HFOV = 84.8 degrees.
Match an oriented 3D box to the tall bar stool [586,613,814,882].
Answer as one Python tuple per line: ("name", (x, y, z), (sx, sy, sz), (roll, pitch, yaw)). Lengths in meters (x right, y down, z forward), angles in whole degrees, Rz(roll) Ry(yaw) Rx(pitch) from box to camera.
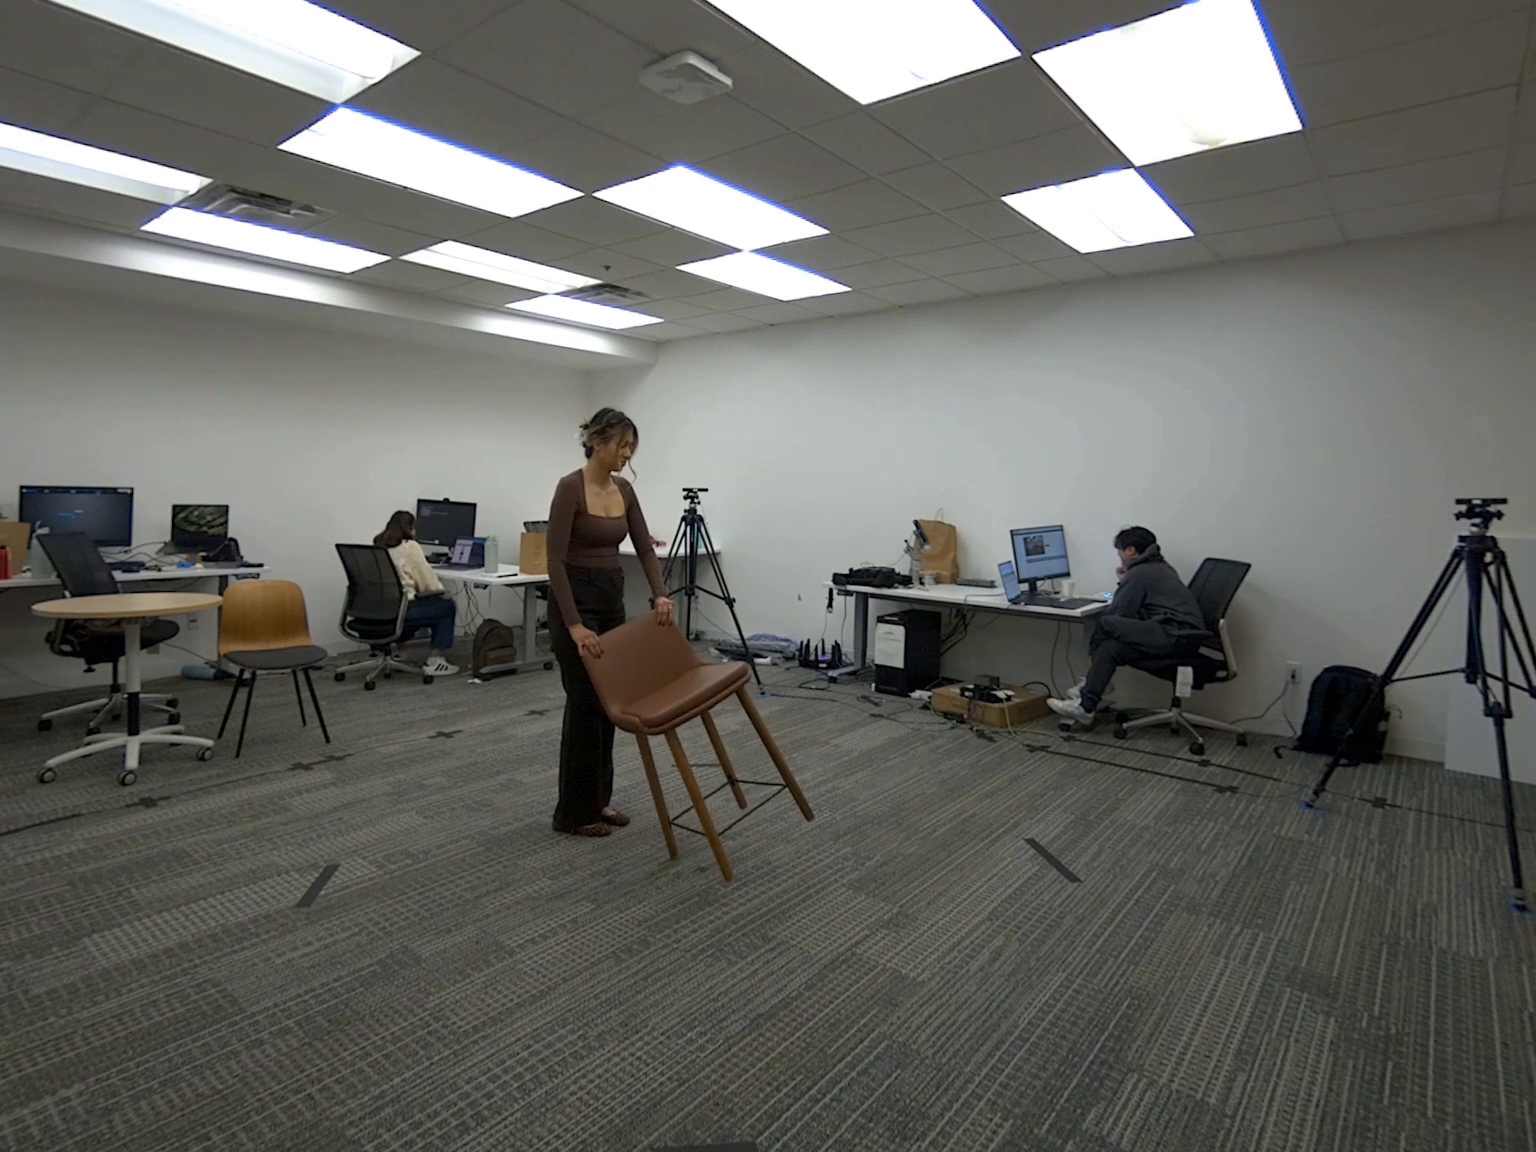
("tall bar stool", (-0.286, 0.564, 3.101), (0.449, 0.888, 0.476), (-25, 3, -33))
